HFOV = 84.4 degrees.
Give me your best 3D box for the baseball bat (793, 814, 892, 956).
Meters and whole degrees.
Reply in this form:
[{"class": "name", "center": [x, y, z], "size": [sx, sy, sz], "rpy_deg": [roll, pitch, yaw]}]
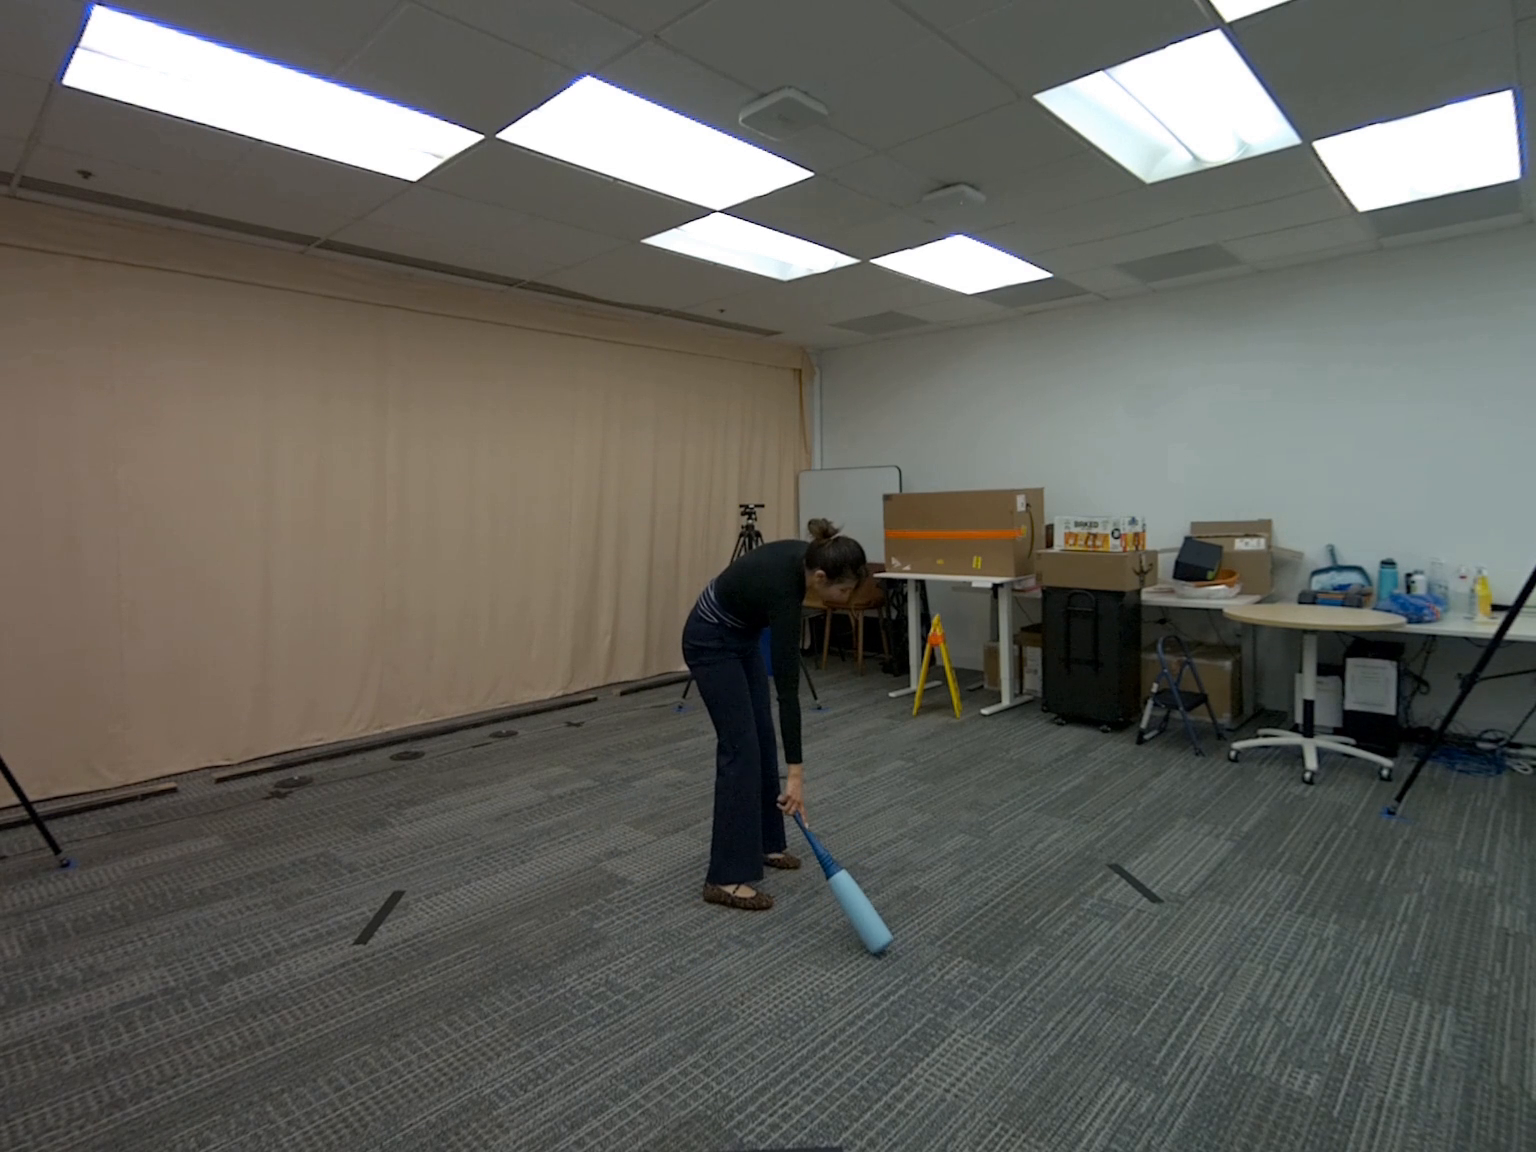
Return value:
[{"class": "baseball bat", "center": [0.214, 0.952, 2.707], "size": [0.086, 0.089, 0.559], "rpy_deg": [-4, 48, -46]}]
